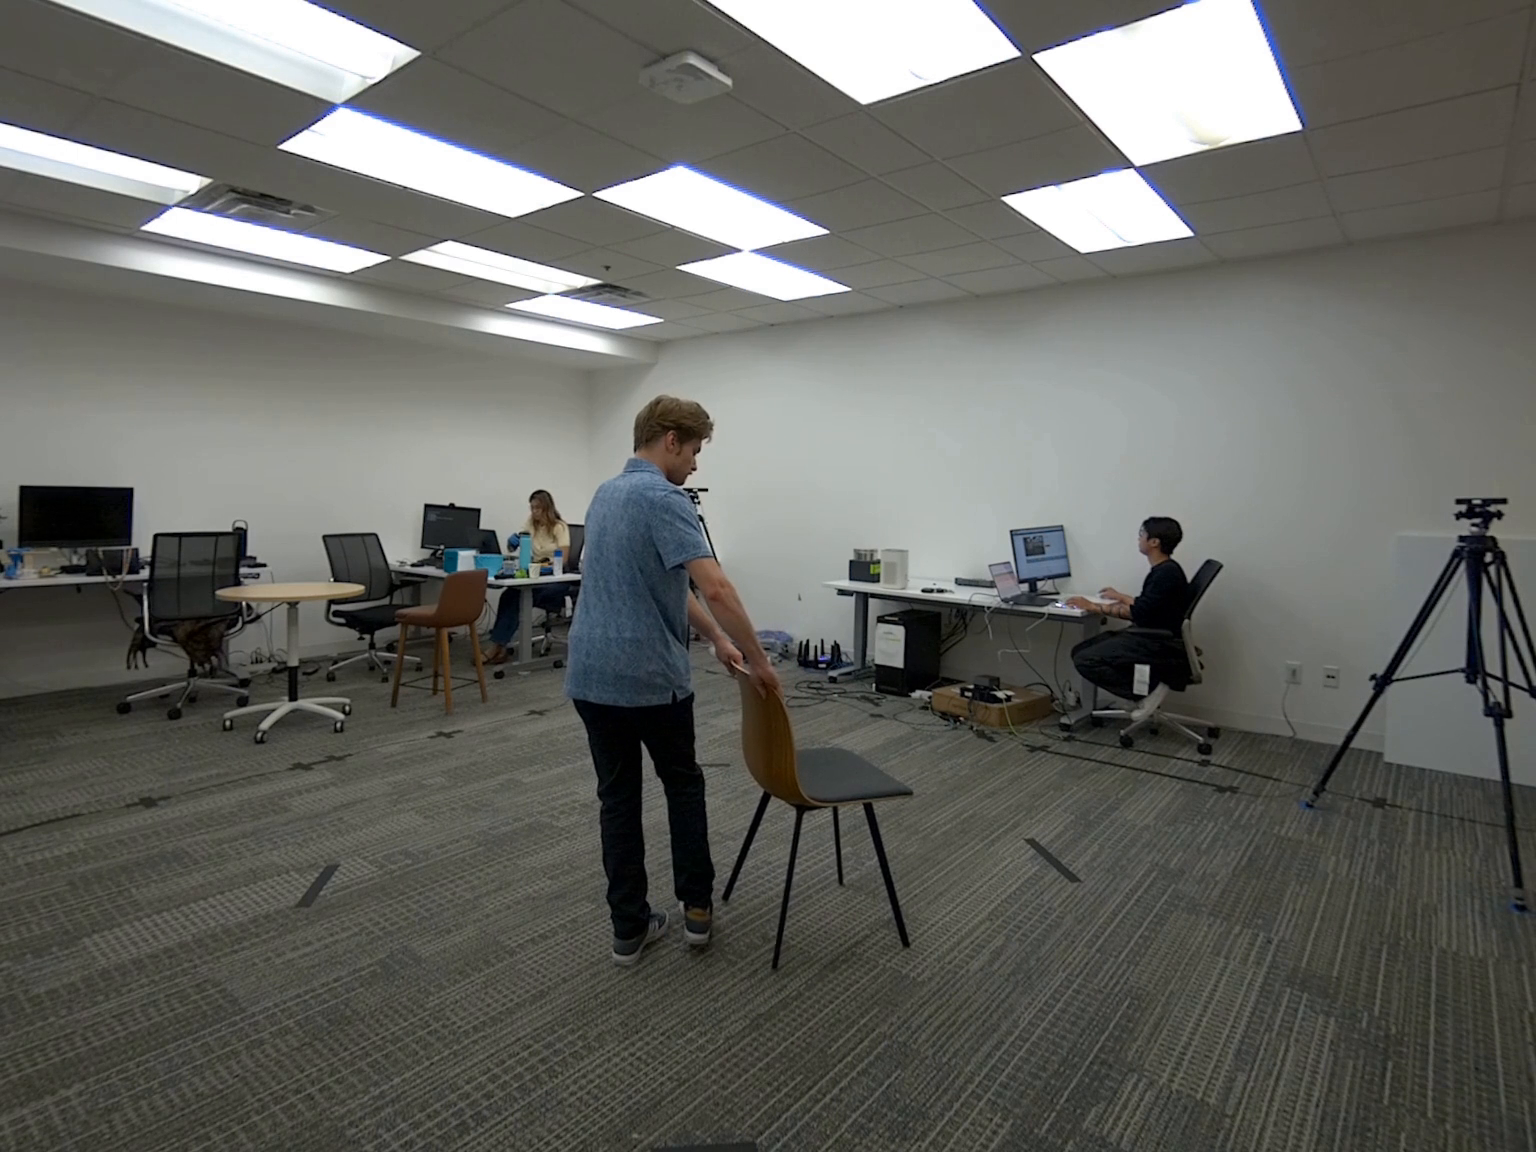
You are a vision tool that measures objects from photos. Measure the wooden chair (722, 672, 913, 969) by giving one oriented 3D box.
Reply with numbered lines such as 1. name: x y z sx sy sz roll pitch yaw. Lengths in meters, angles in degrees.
1. wooden chair: 0.154 0.685 2.721 0.513 0.874 0.489 -4 5 -21
